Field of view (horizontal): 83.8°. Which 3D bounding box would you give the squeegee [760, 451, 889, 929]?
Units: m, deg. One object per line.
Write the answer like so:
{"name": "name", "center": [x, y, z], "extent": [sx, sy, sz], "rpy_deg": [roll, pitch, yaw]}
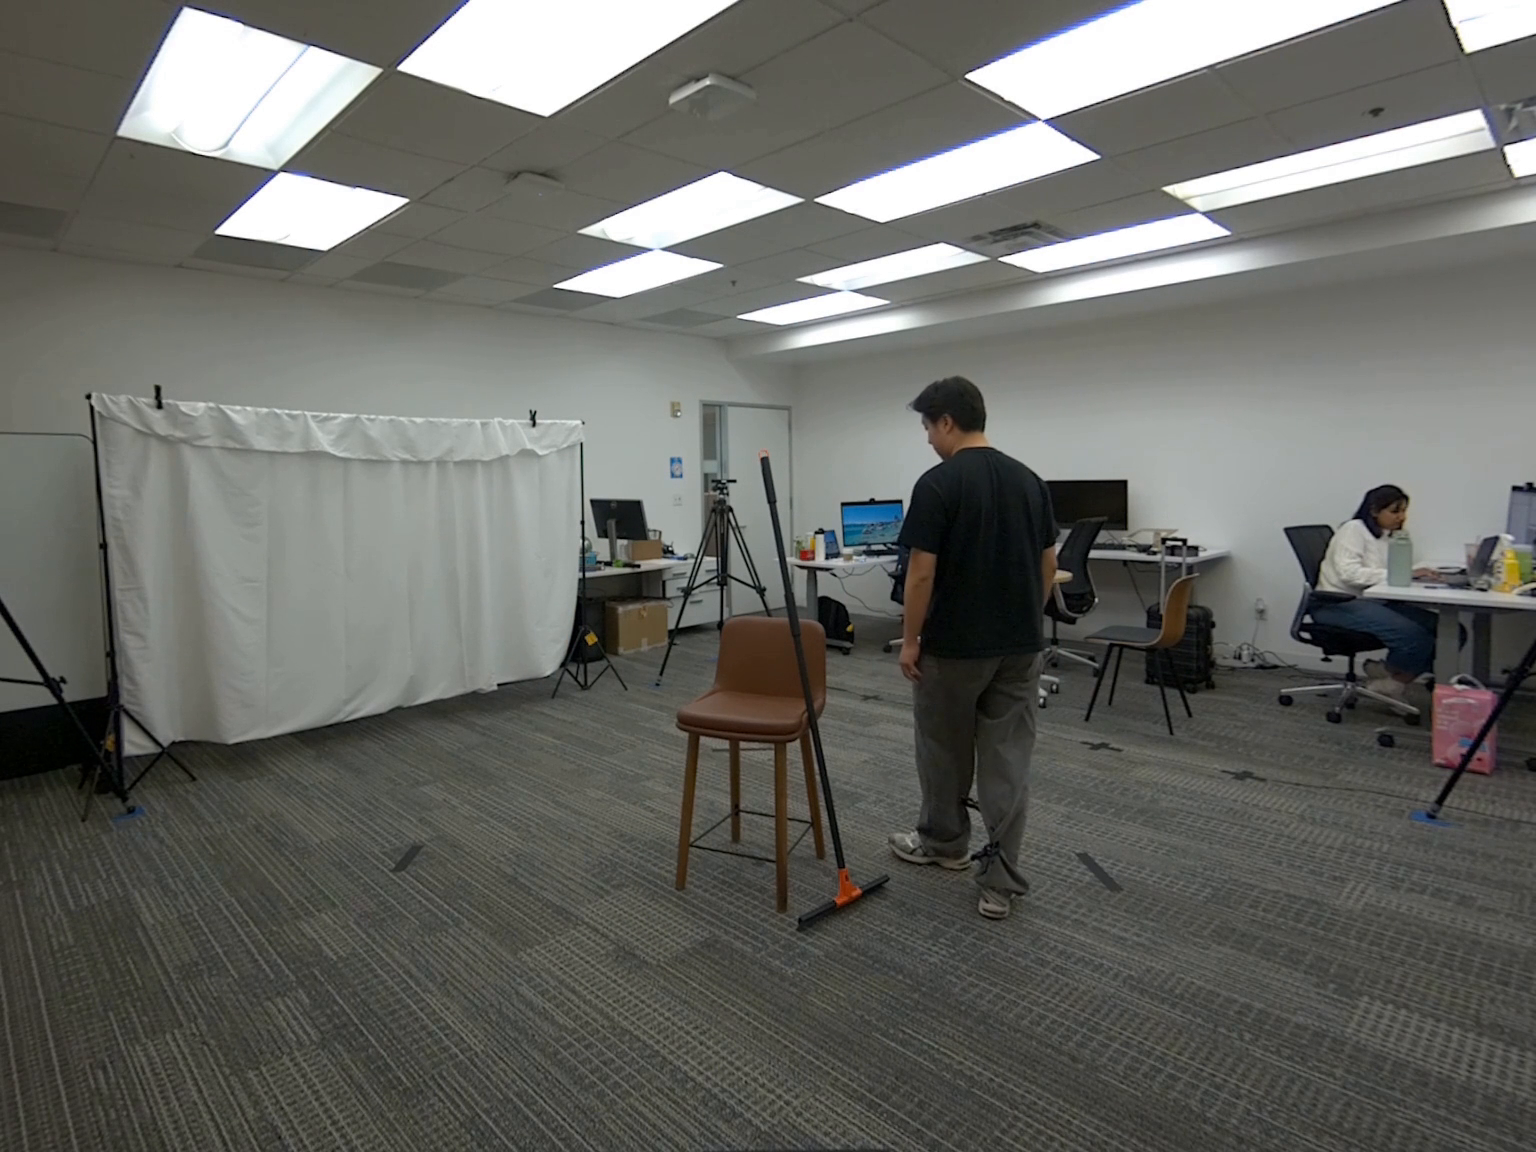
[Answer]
{"name": "squeegee", "center": [0.120, 0.317, 2.853], "extent": [0.426, 1.550, 0.054], "rpy_deg": [-4, -9, -39]}
